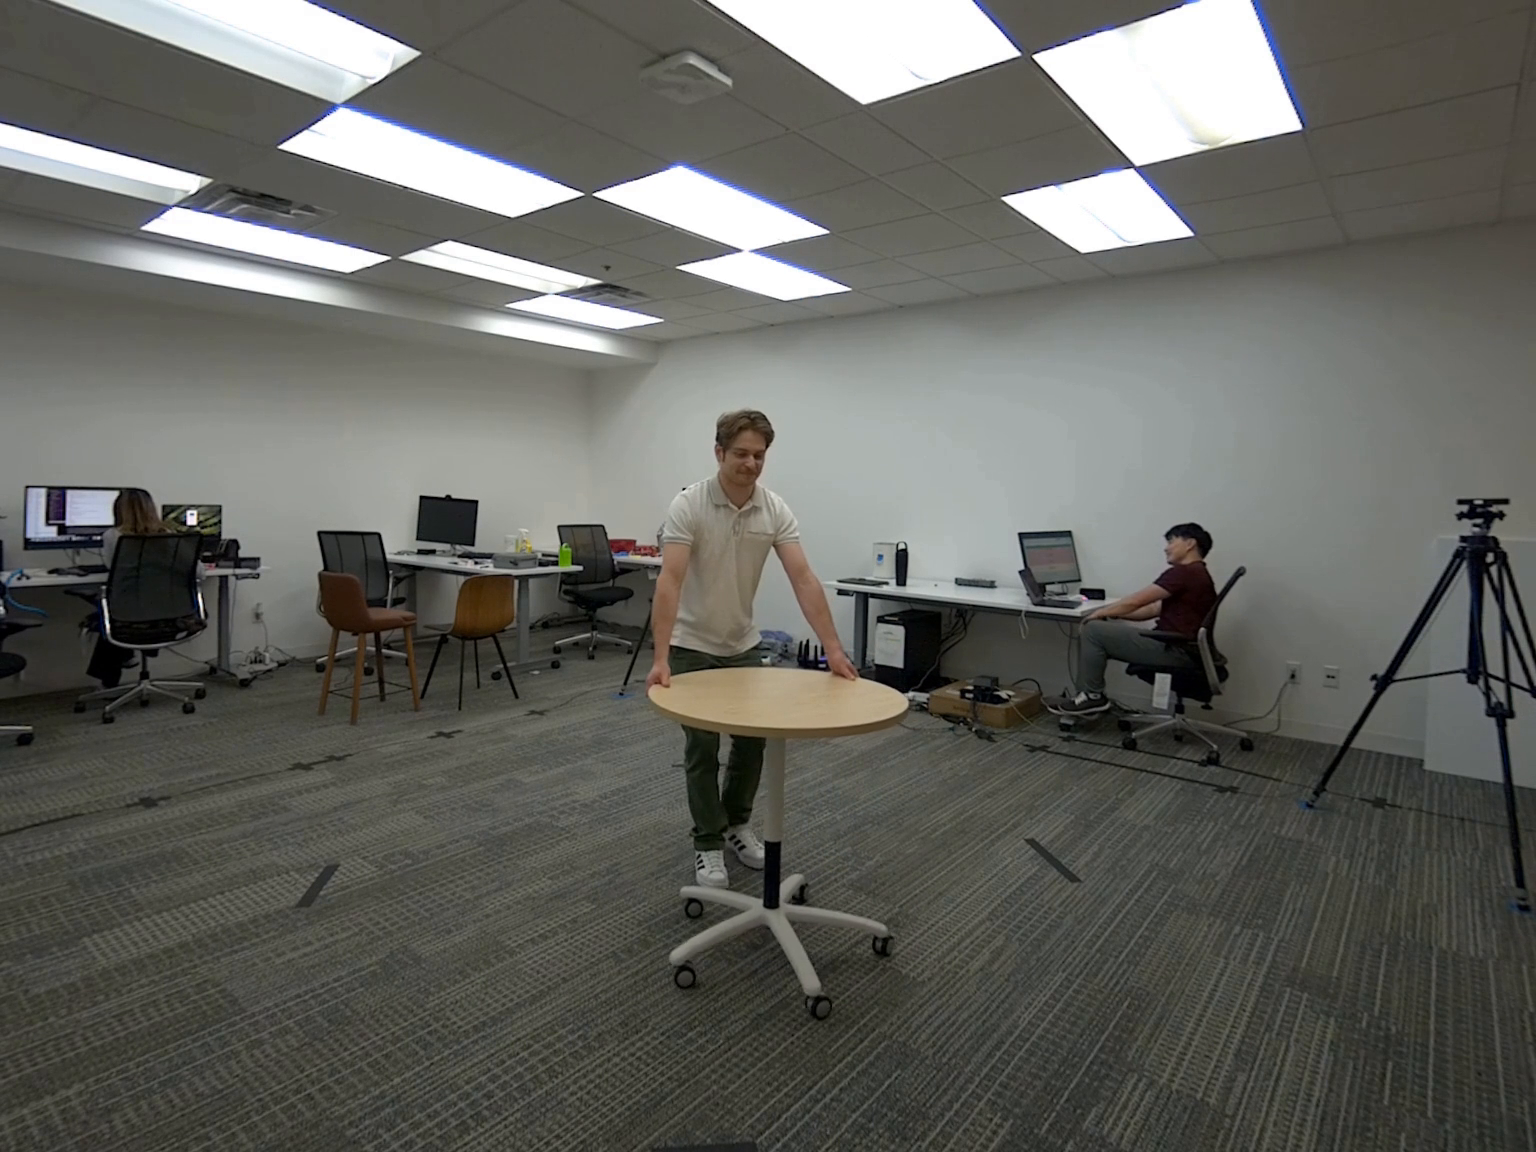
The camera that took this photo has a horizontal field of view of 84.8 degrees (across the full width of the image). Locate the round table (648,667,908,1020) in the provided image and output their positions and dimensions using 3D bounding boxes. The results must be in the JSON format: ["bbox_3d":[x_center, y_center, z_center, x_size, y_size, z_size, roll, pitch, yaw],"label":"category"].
[{"bbox_3d":[0.010,0.738,2.552,0.763,0.791,0.768,2,4,-2],"label":"round table"}]
